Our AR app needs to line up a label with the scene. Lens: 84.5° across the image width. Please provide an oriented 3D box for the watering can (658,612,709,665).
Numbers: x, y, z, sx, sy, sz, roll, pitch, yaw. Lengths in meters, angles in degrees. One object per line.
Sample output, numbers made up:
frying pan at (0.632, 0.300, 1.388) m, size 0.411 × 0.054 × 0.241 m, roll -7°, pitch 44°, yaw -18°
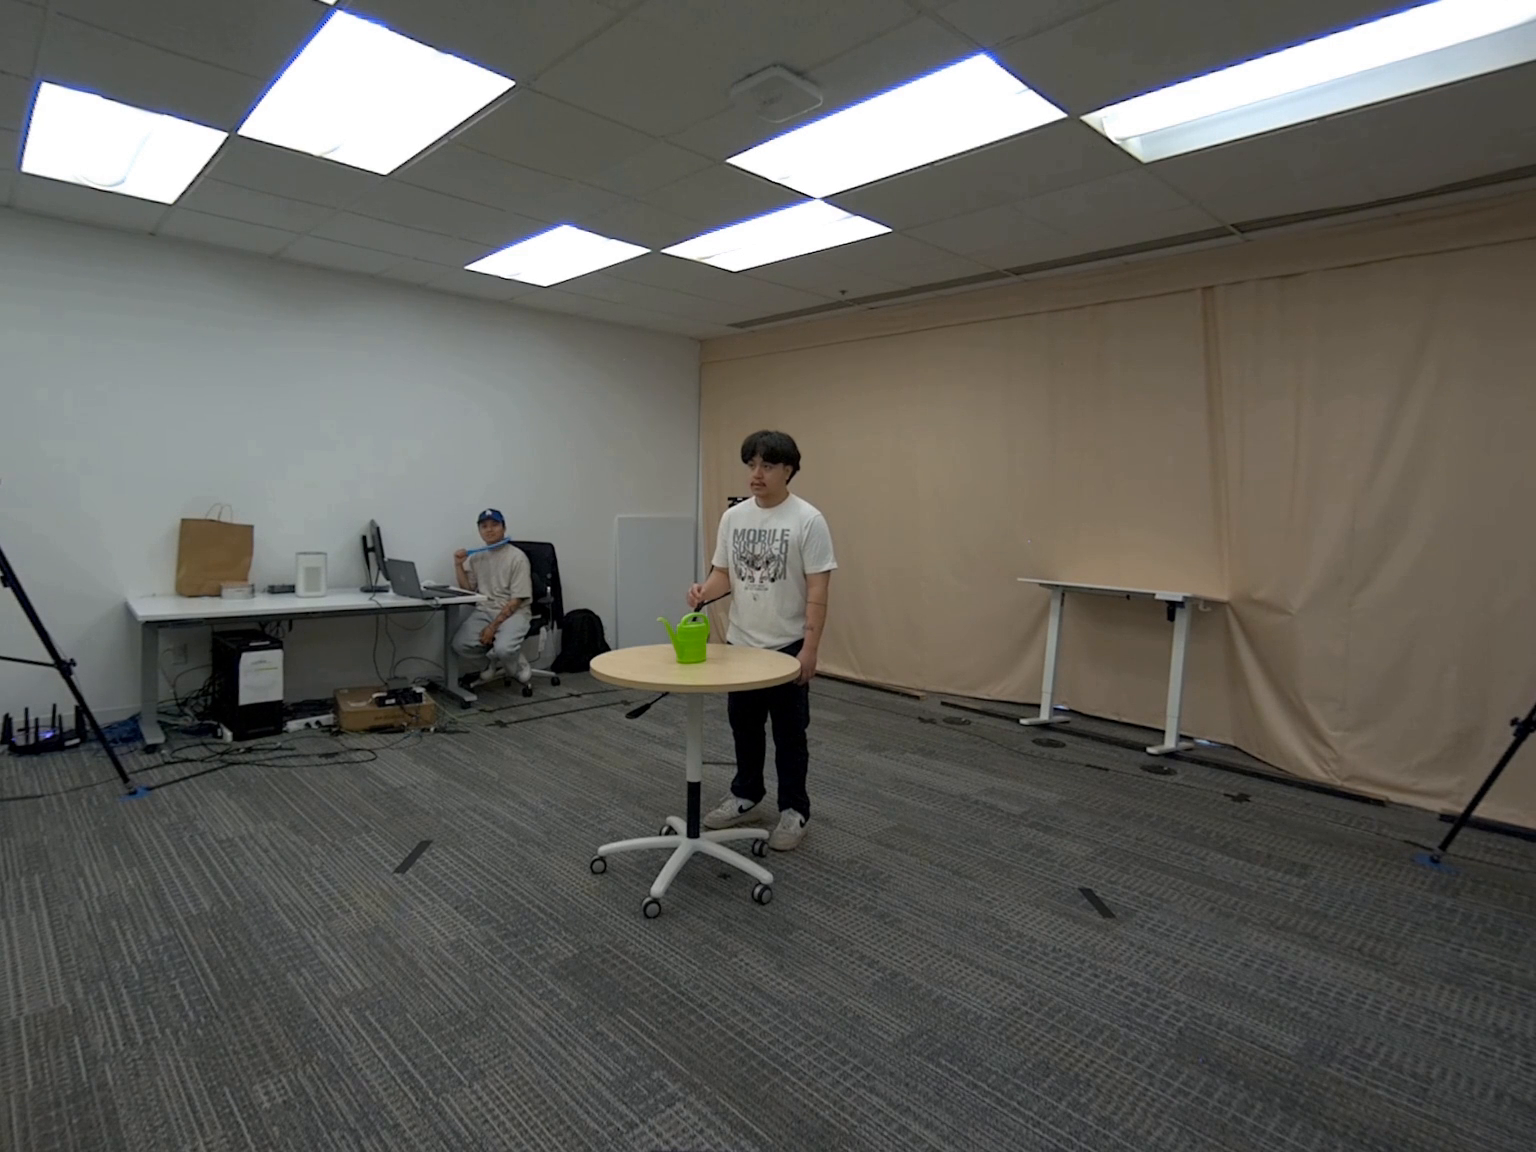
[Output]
watering can at (-0.324, 0.230, 3.056) m, size 0.100 × 0.177 × 0.272 m, roll 3°, pitch 2°, yaw 45°
